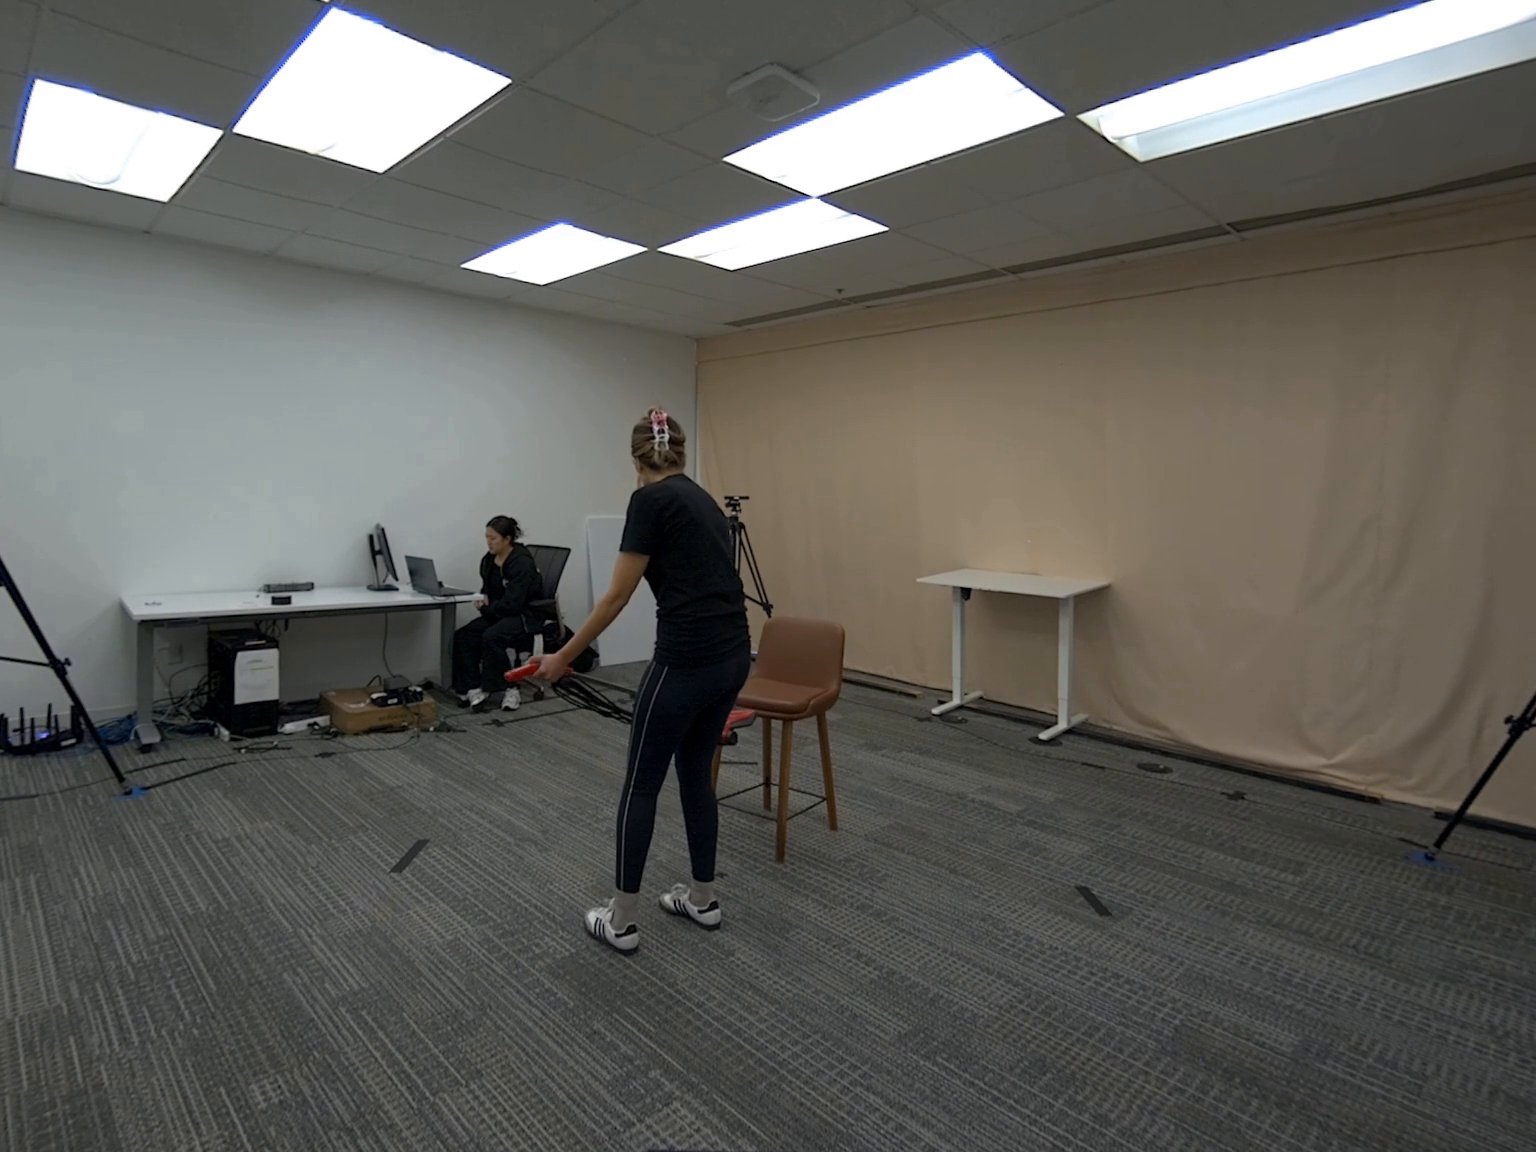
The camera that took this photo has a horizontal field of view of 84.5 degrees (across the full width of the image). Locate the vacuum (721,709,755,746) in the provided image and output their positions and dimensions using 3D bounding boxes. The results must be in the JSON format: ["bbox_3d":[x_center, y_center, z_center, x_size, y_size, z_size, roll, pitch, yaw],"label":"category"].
[{"bbox_3d":[-0.475,0.447,2.839,0.258,0.145,1.017,-4,-20,41],"label":"vacuum"}]
